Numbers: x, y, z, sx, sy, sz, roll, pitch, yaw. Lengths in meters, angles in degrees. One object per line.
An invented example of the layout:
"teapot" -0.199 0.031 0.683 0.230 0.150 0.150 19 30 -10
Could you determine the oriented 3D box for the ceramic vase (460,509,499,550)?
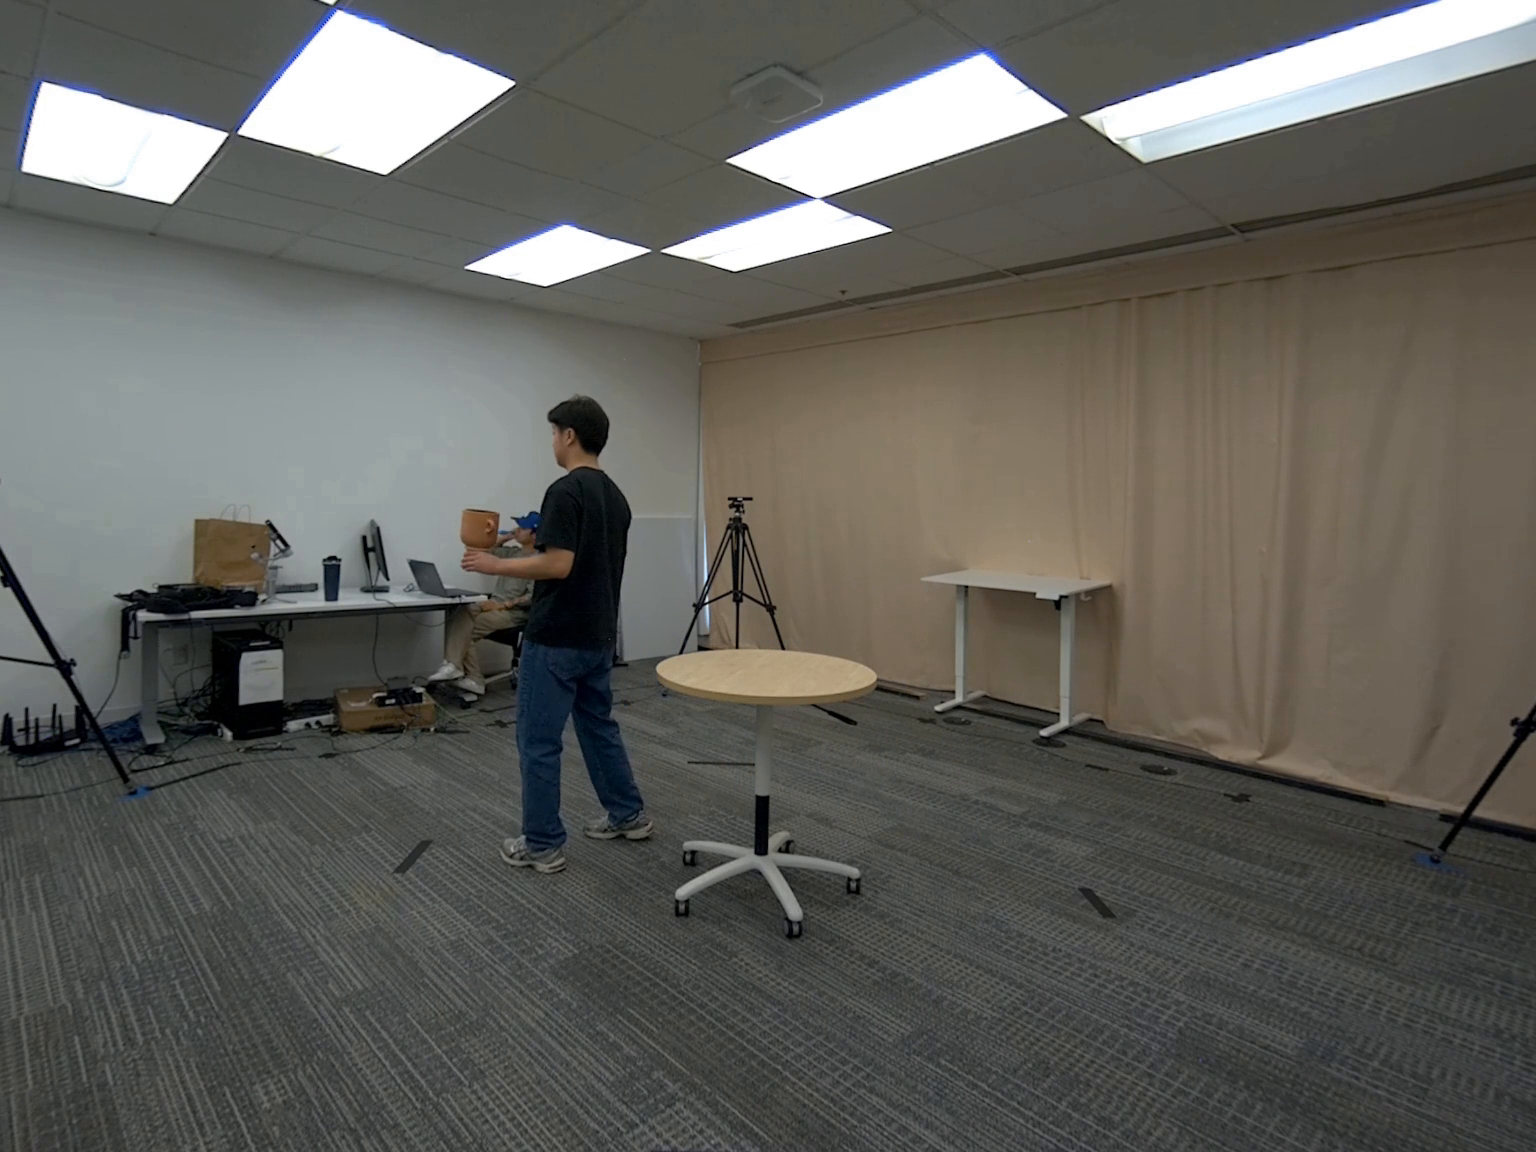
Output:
"ceramic vase" -1.063 -0.128 3.104 0.134 0.219 0.160 6 3 -8
